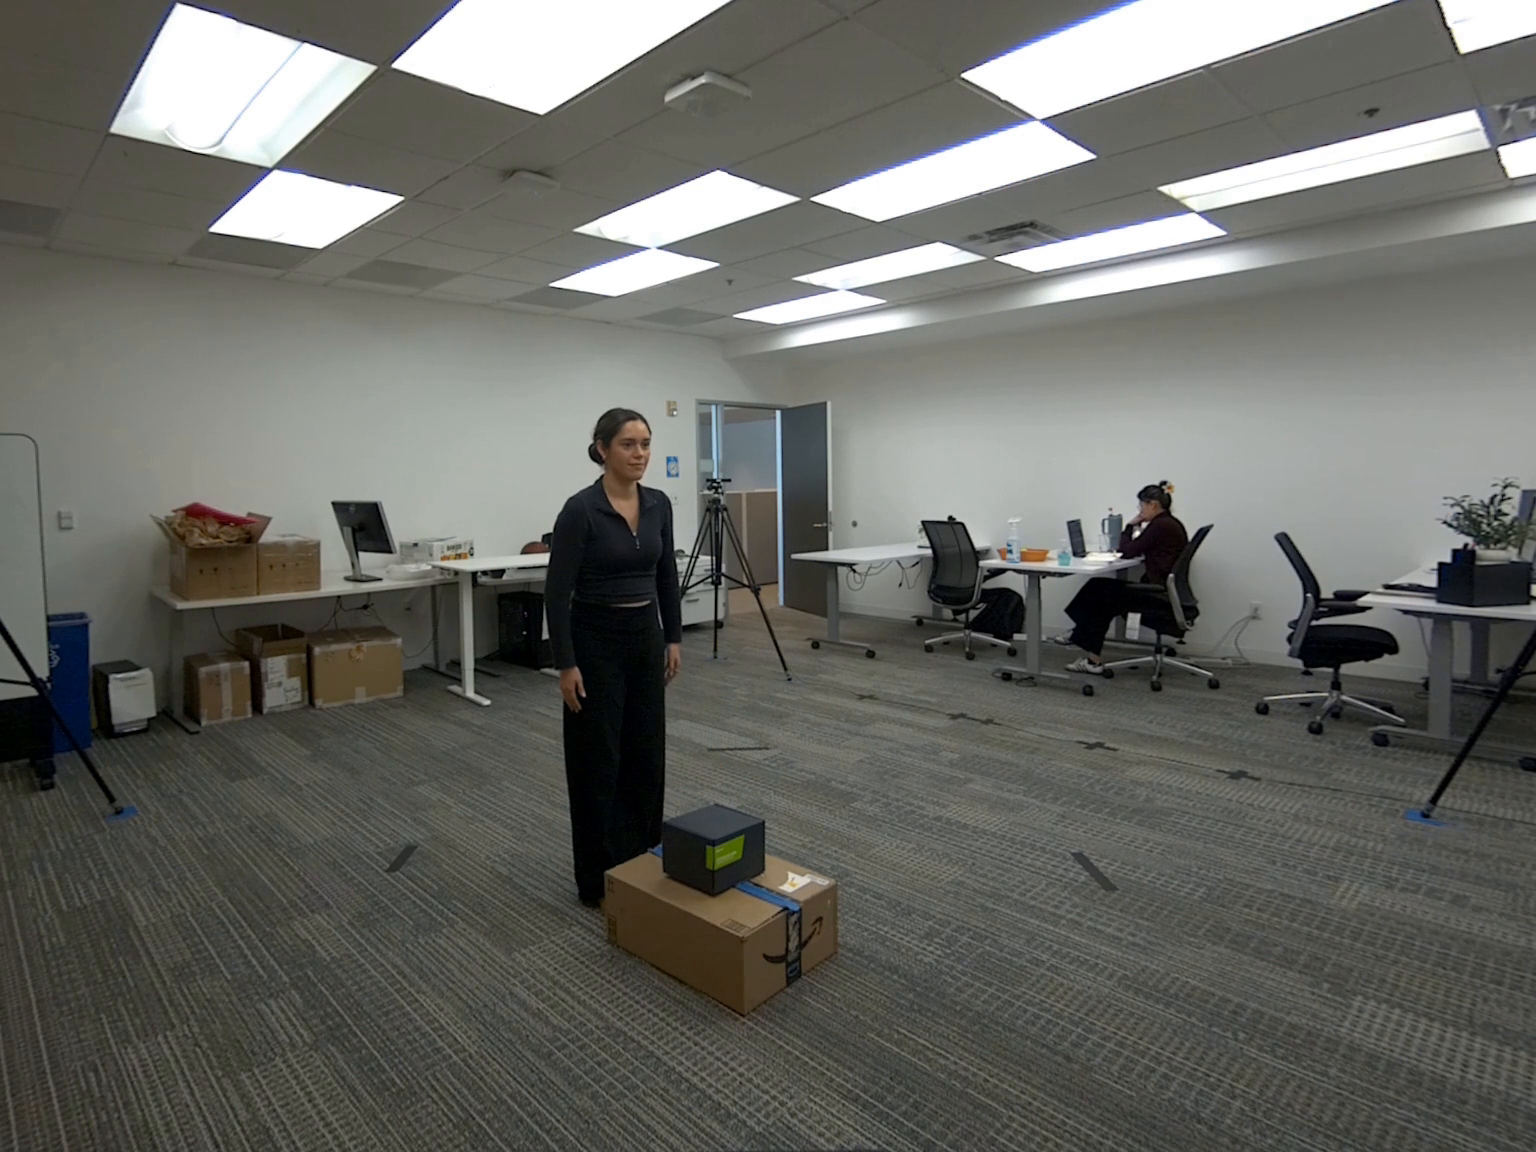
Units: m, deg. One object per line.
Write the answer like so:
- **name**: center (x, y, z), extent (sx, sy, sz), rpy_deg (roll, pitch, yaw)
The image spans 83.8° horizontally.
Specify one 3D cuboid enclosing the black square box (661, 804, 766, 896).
- **black square box**: center (-0.167, 0.810, 2.560), extent (0.223, 0.155, 0.222), rpy_deg (3, 5, 41)
